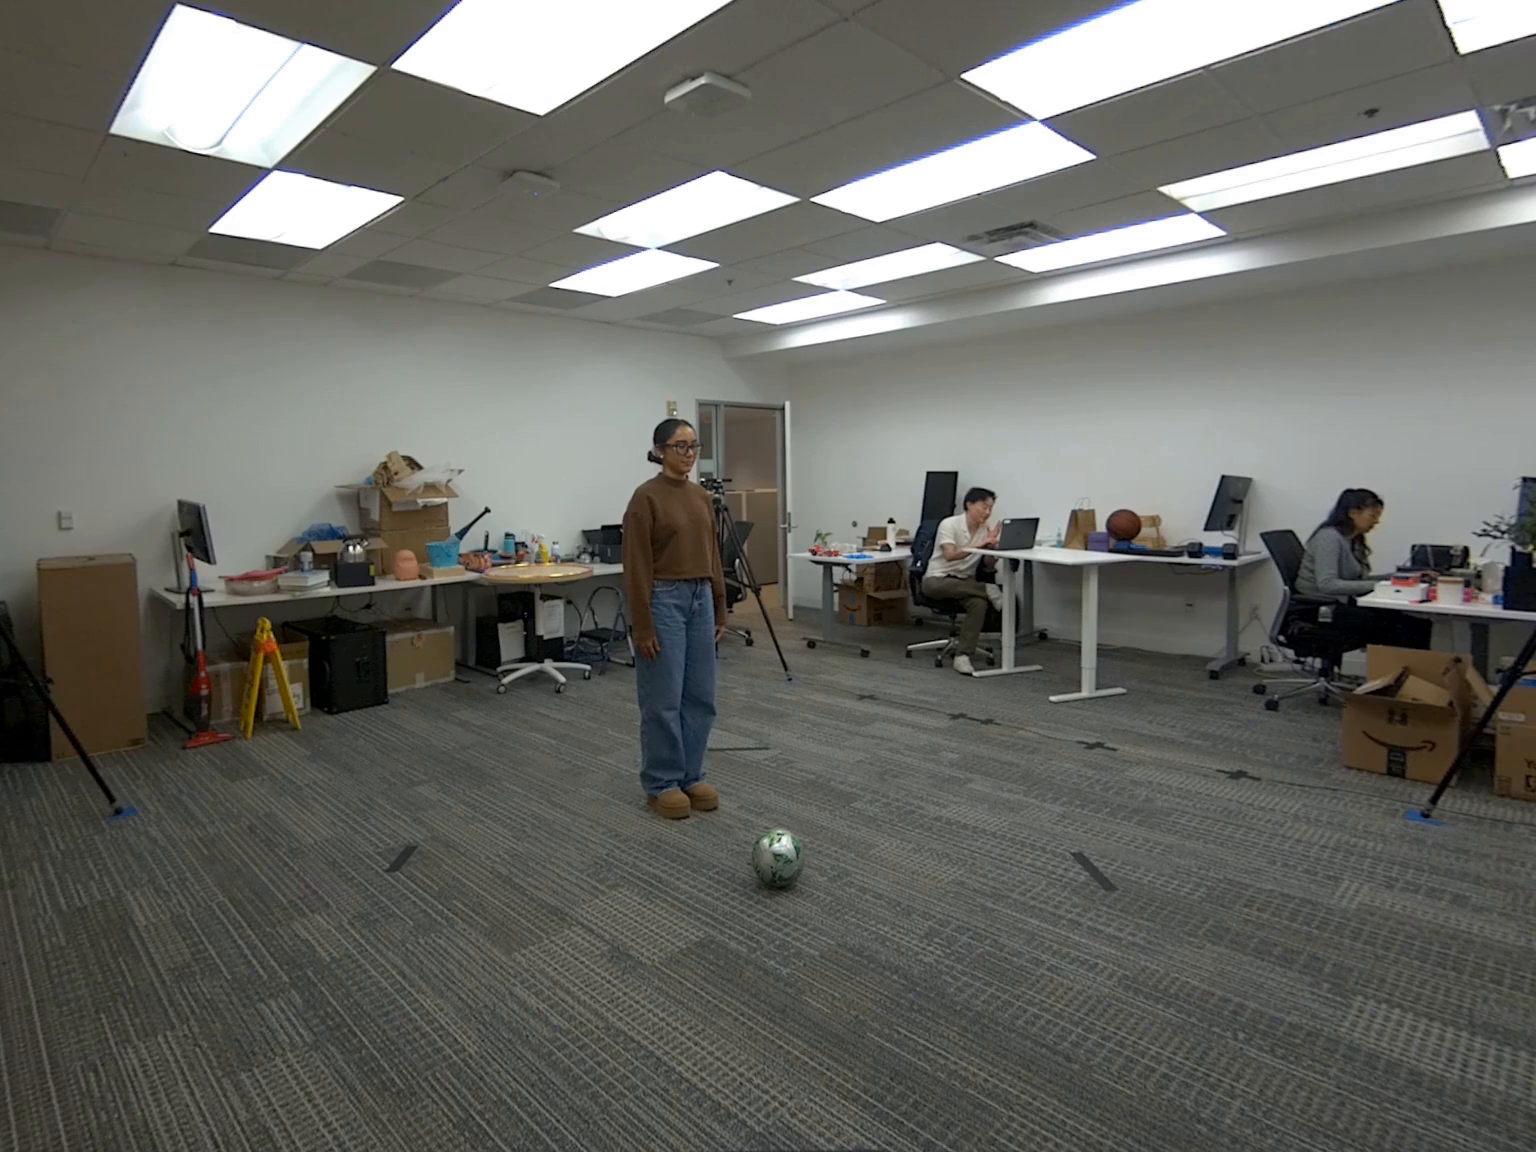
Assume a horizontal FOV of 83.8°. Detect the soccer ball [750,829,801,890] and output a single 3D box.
[{"bbox_3d":[0.040,0.965,2.936,0.187,0.187,0.188,-1,5,-2],"label":"soccer ball"}]
